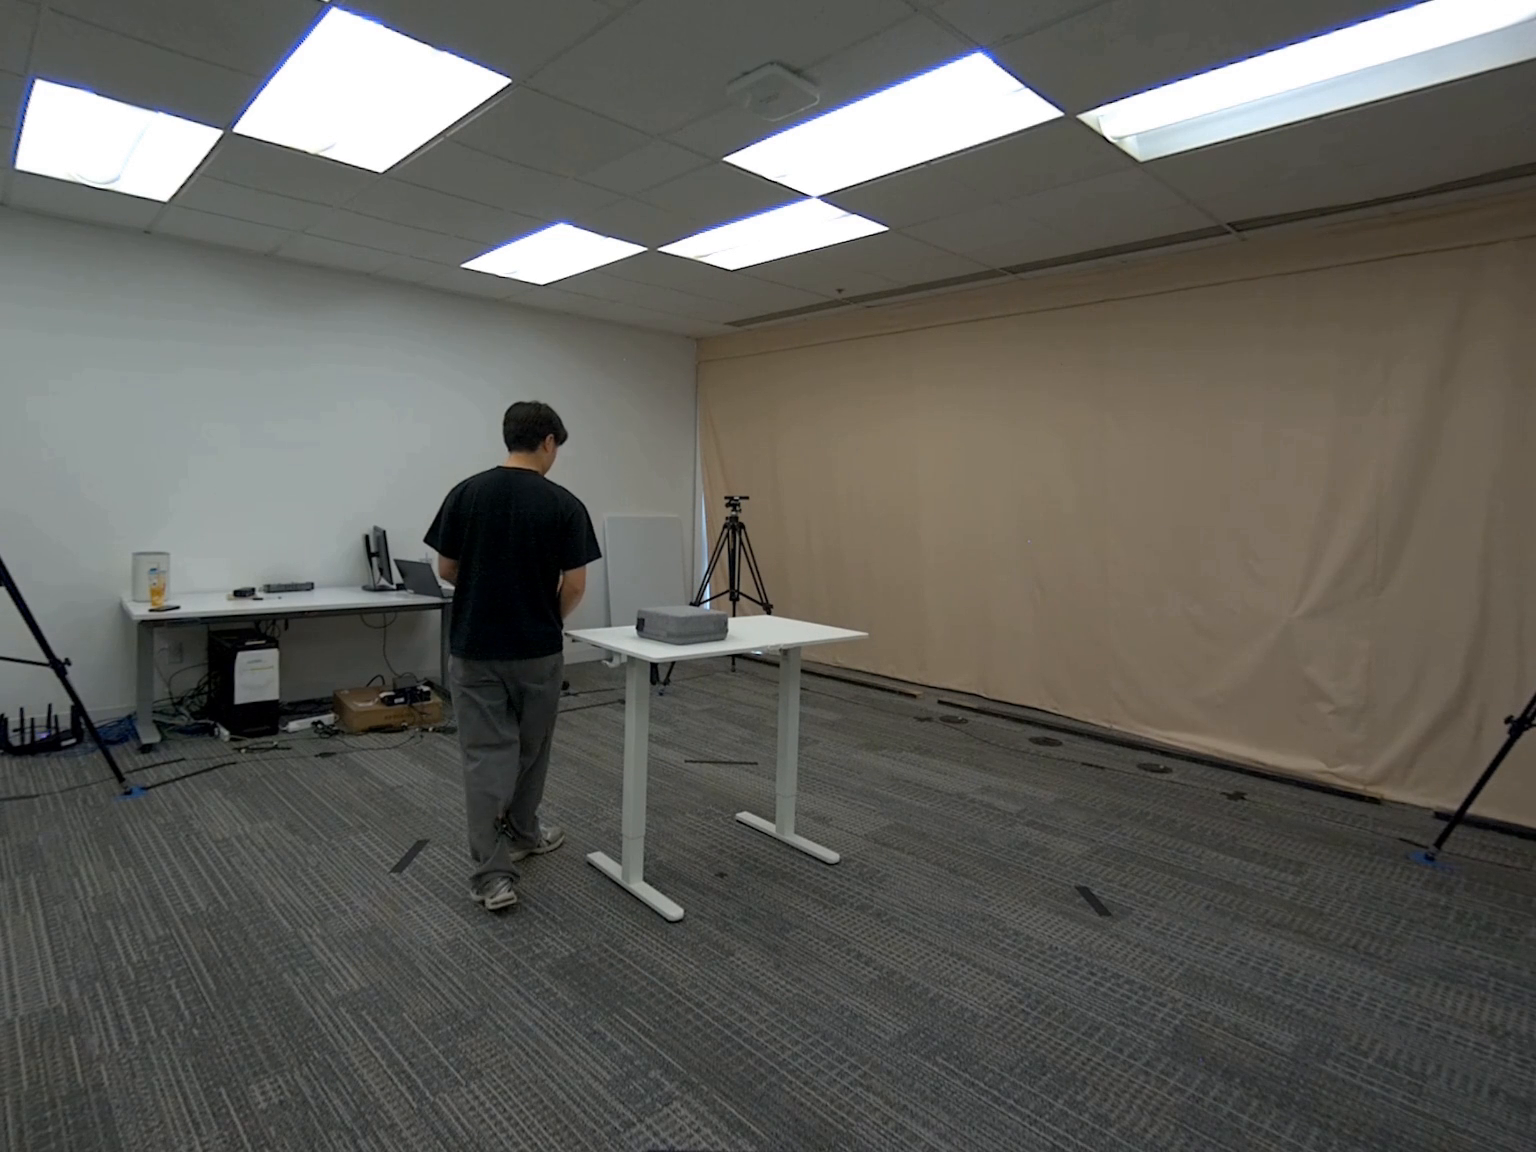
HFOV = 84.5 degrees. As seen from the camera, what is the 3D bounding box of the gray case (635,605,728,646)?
[{"bbox_3d":[-0.301,0.171,3.024,0.270,0.103,0.280,6,6,44],"label":"gray case"}]
